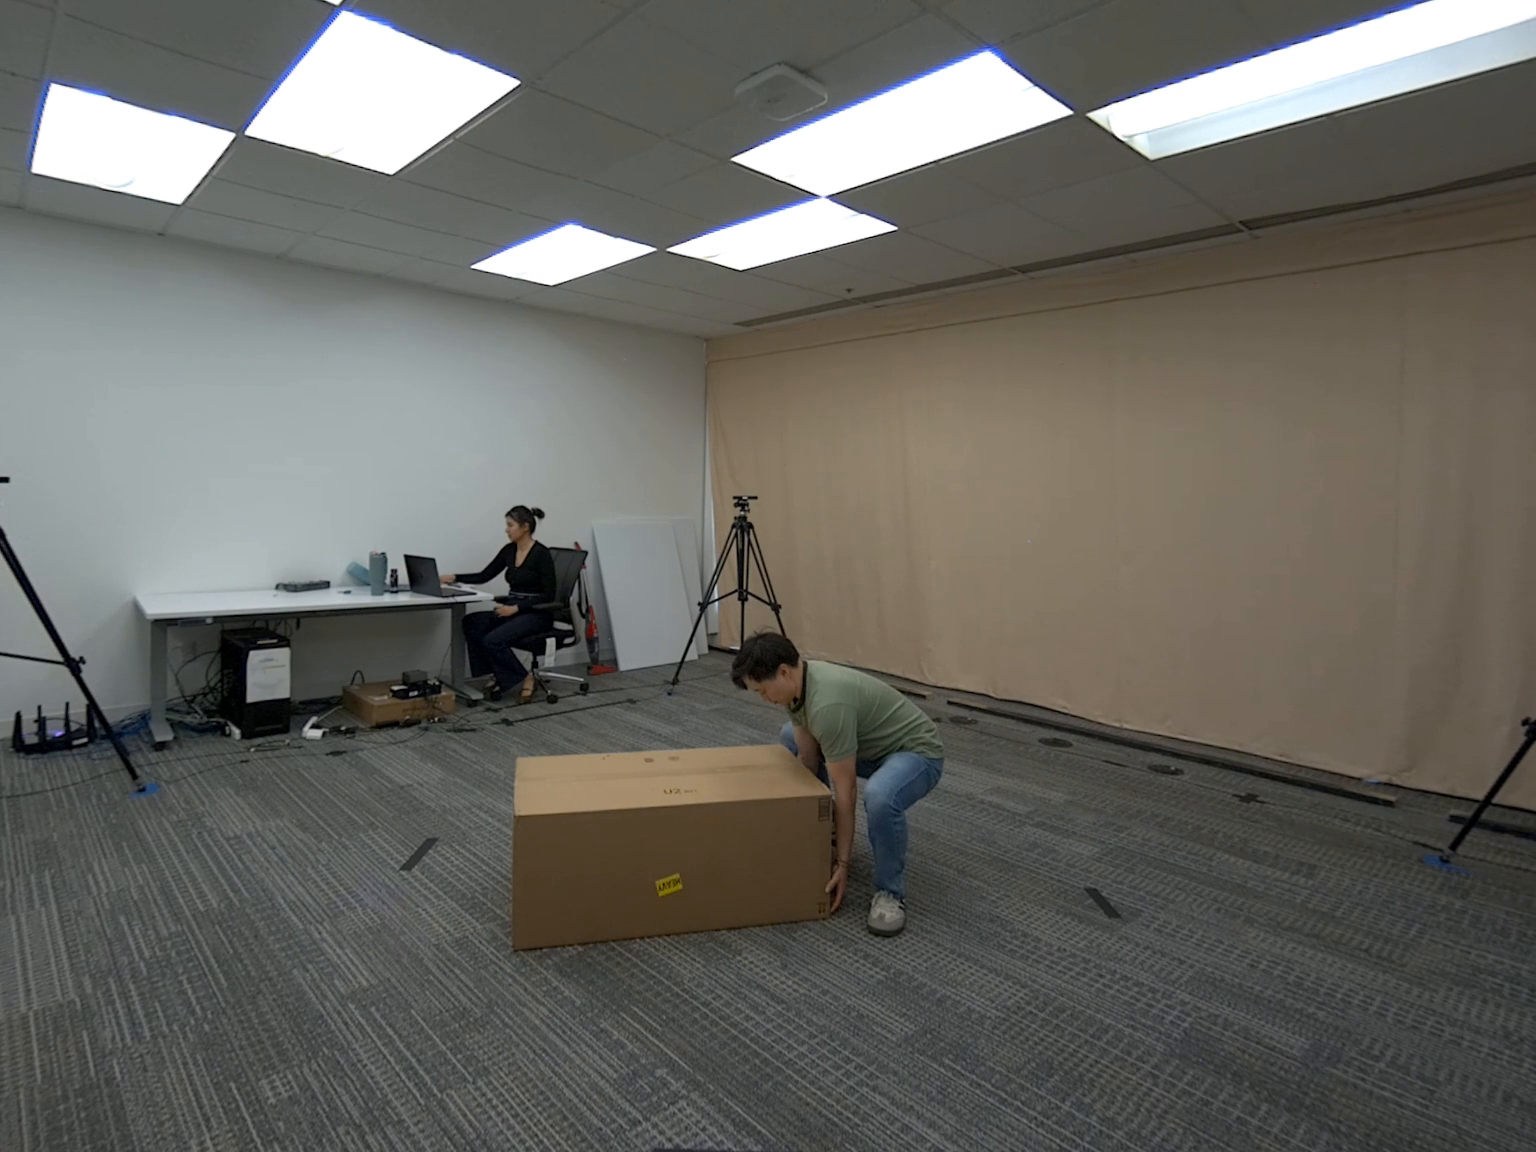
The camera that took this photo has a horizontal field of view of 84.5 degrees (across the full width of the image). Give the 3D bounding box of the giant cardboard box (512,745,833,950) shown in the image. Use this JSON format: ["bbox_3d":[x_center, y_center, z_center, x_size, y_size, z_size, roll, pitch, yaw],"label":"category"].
[{"bbox_3d":[-0.365,0.900,2.931,1.014,0.425,0.586,0,5,-15],"label":"giant cardboard box"}]
